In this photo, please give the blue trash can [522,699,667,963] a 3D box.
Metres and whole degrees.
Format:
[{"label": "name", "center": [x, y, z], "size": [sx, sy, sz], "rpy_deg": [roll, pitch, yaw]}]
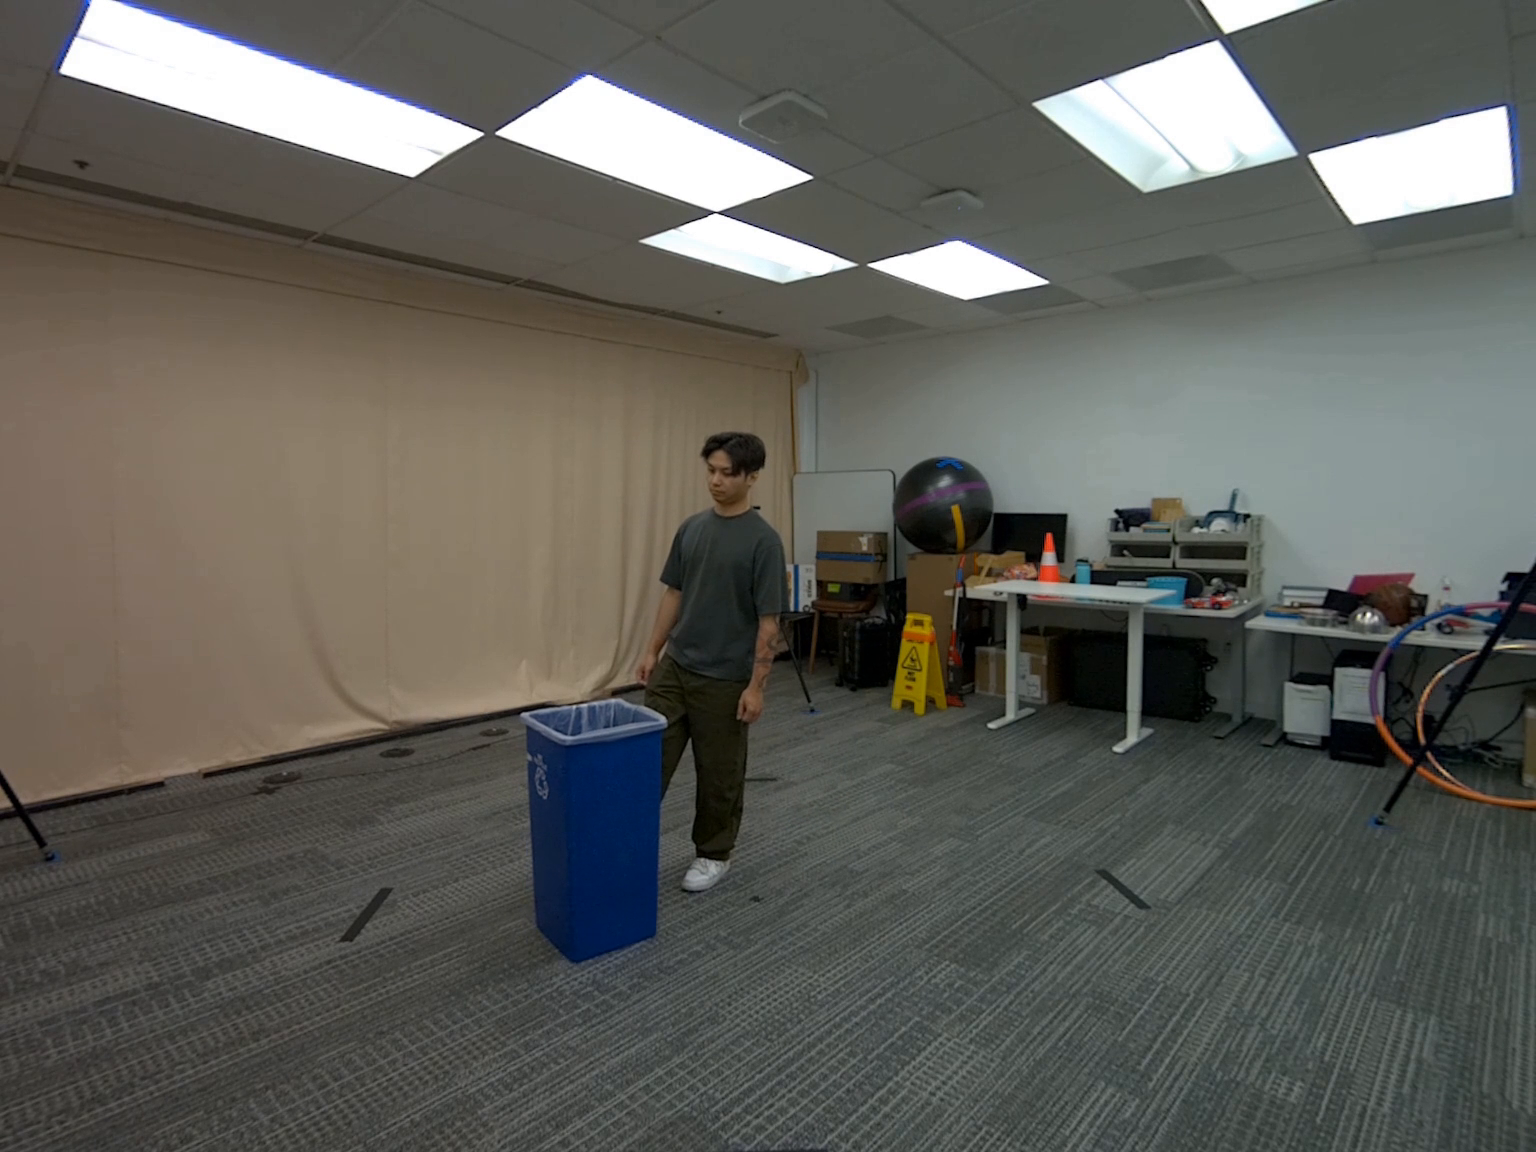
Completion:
[{"label": "blue trash can", "center": [-0.568, 0.809, 2.750], "size": [0.363, 0.711, 0.390], "rpy_deg": [-5, 6, -39]}]
